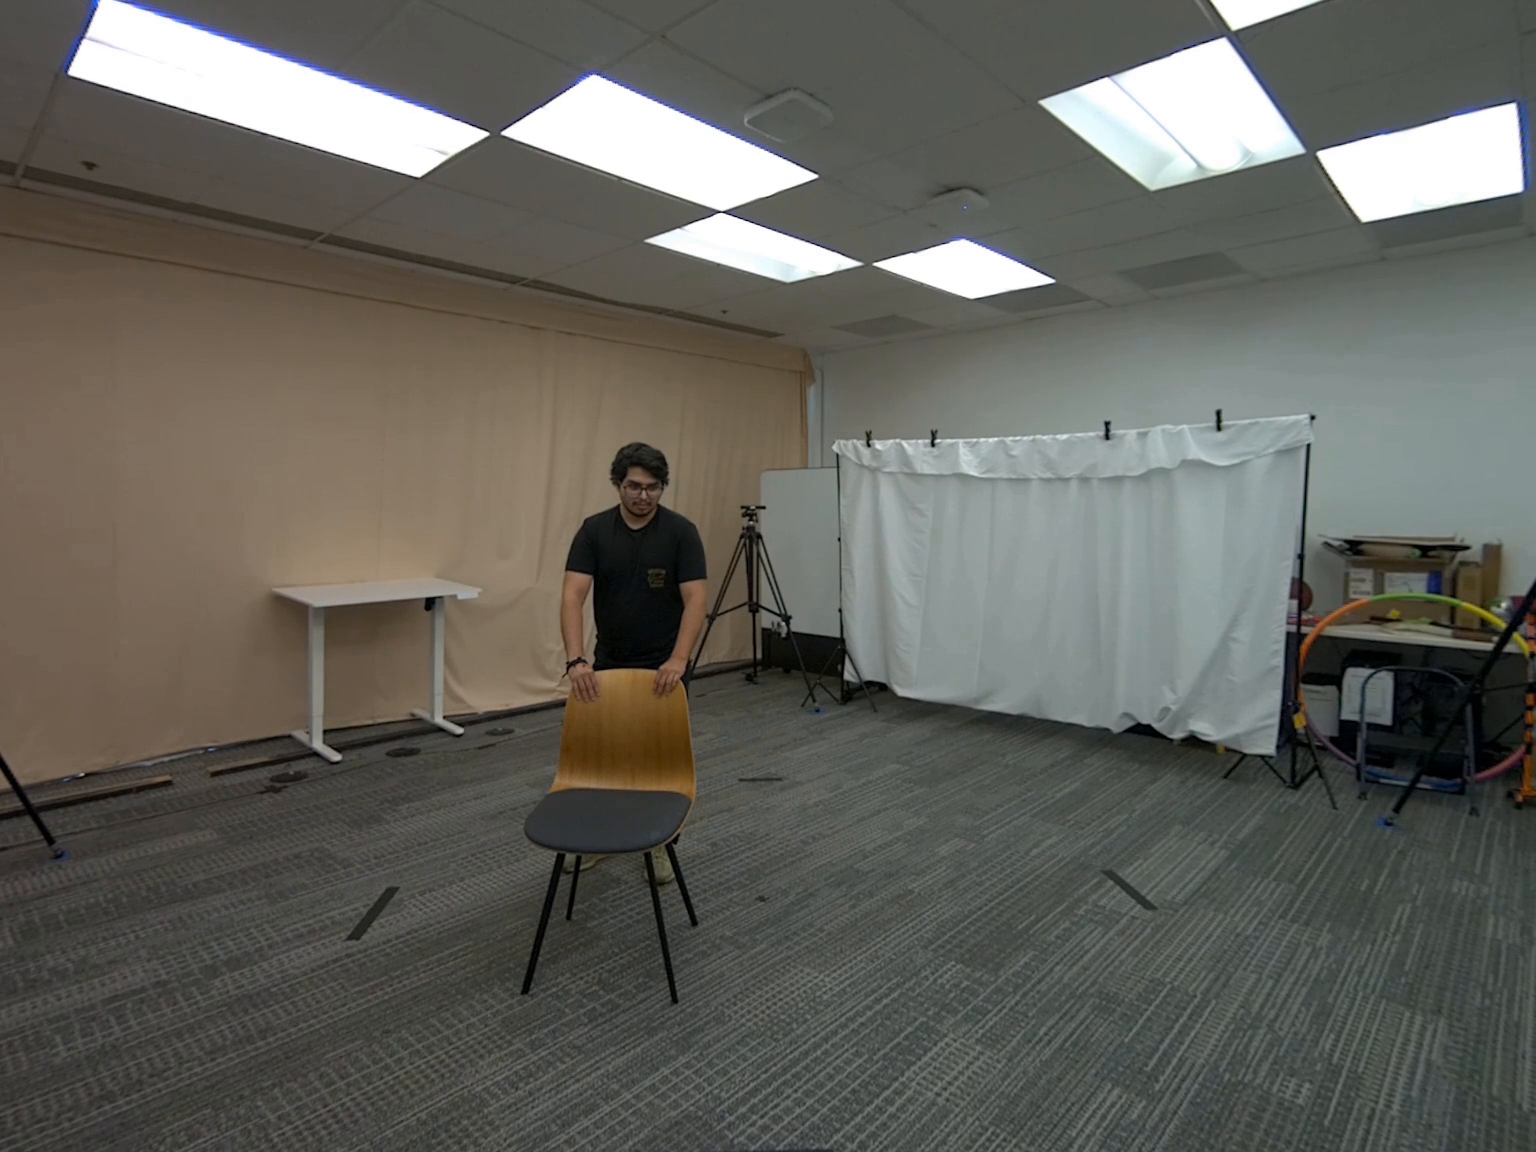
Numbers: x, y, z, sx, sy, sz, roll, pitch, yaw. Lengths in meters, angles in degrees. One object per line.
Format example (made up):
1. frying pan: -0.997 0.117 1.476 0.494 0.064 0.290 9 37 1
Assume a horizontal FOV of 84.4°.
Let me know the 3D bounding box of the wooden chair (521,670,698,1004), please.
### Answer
1. wooden chair: -0.458 0.751 2.566 0.481 0.878 0.520 0 -1 4
